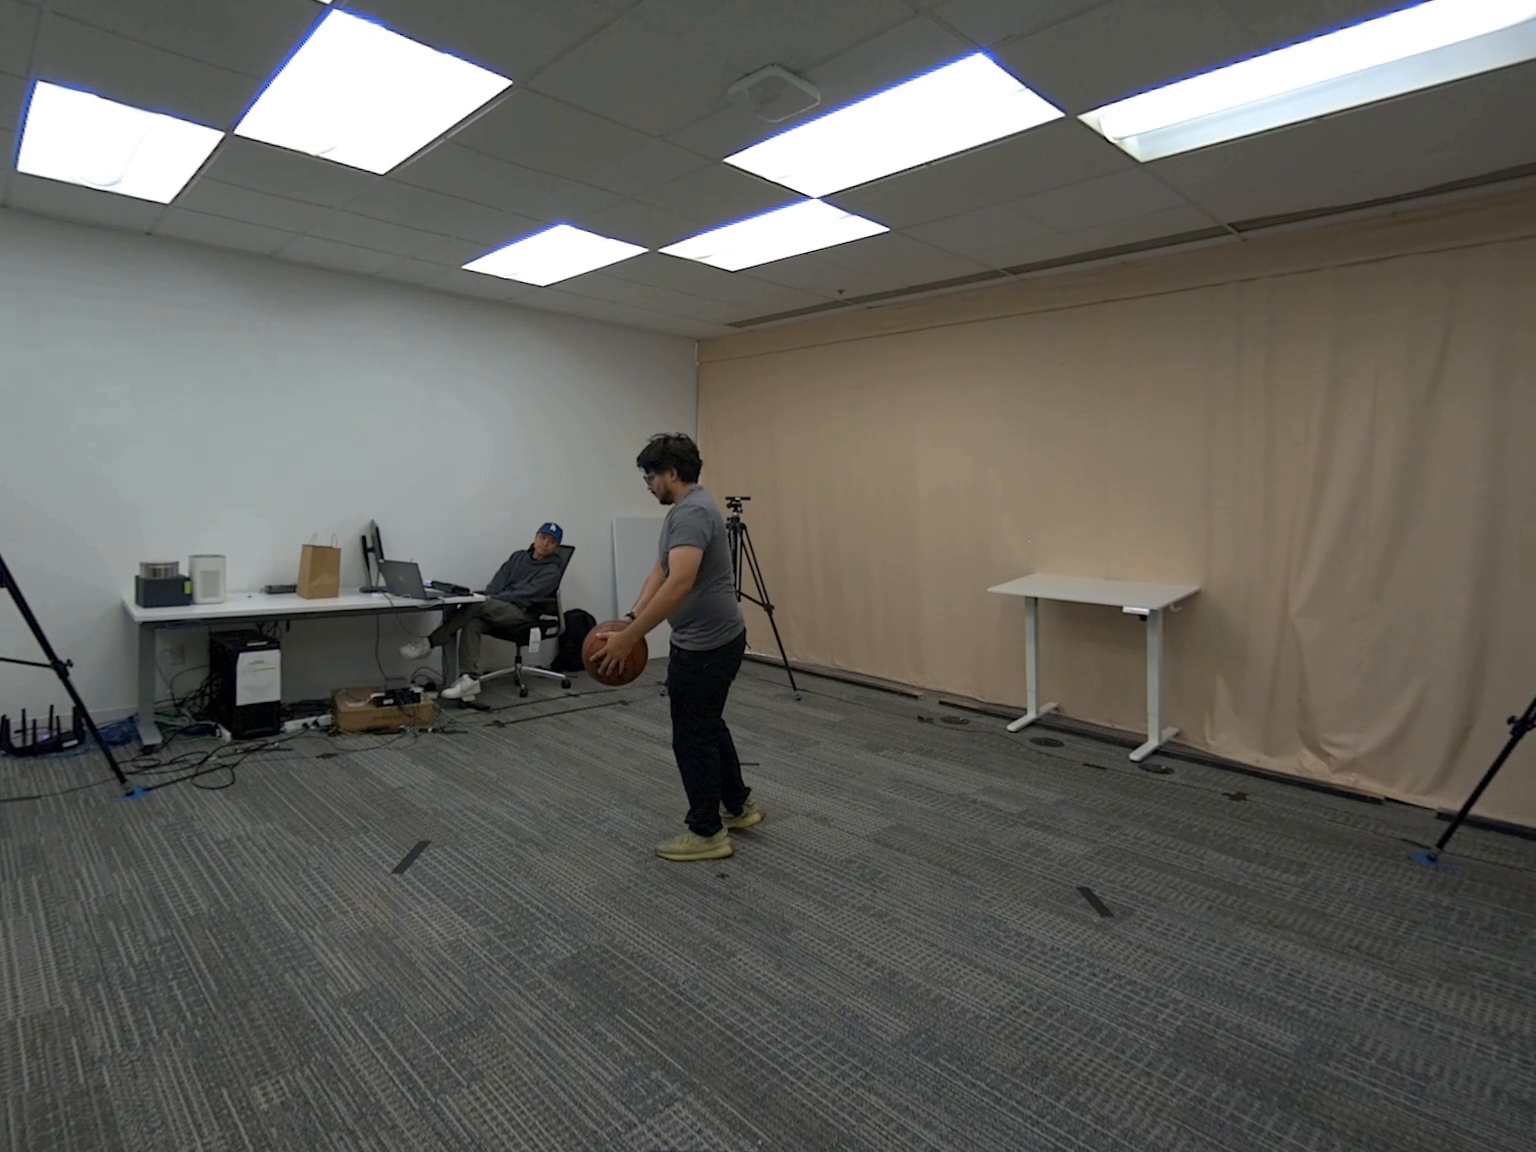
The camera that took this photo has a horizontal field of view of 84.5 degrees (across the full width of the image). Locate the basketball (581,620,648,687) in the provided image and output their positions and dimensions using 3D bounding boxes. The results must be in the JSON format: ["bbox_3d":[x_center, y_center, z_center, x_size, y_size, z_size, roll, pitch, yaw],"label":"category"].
[{"bbox_3d":[-0.551,0.274,3.040,0.236,0.235,0.237,1,4,-1],"label":"basketball"}]
